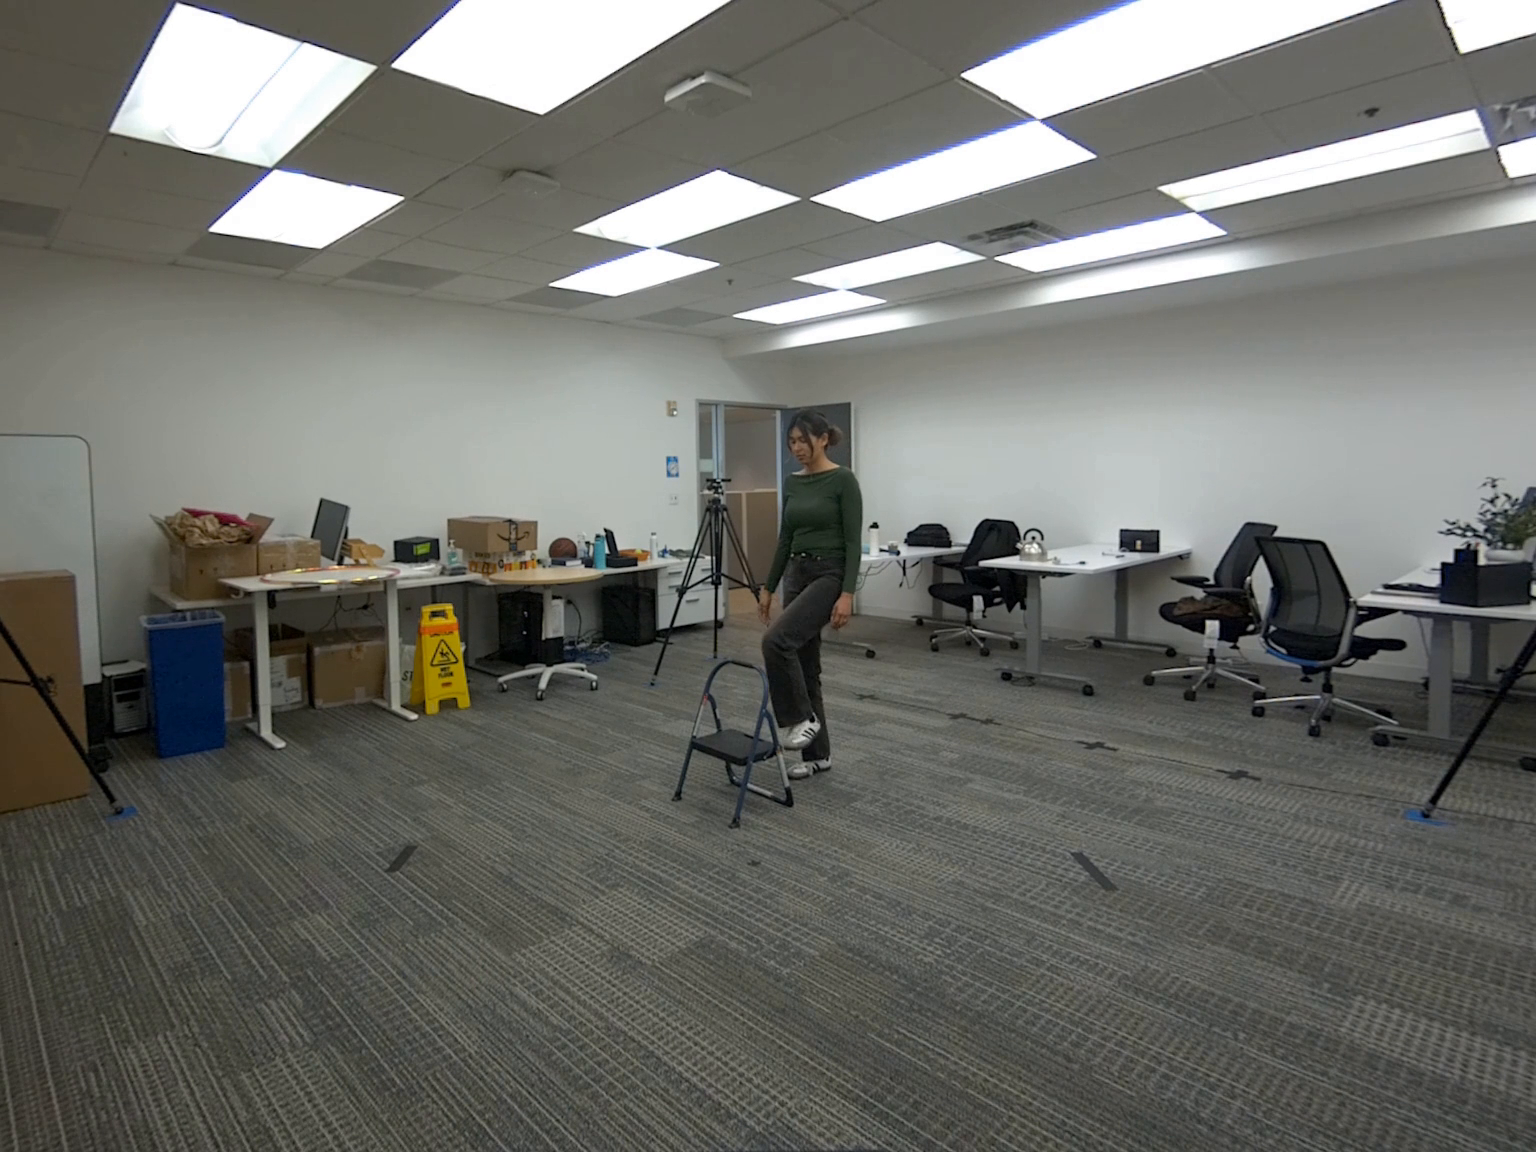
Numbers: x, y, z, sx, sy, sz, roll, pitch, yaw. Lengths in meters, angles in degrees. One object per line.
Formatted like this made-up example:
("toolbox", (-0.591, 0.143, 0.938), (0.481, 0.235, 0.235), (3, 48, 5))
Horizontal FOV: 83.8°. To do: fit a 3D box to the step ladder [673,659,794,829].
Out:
("step ladder", (-0.158, 0.679, 3.669), (0.340, 0.604, 0.444), (-4, 5, -41))
